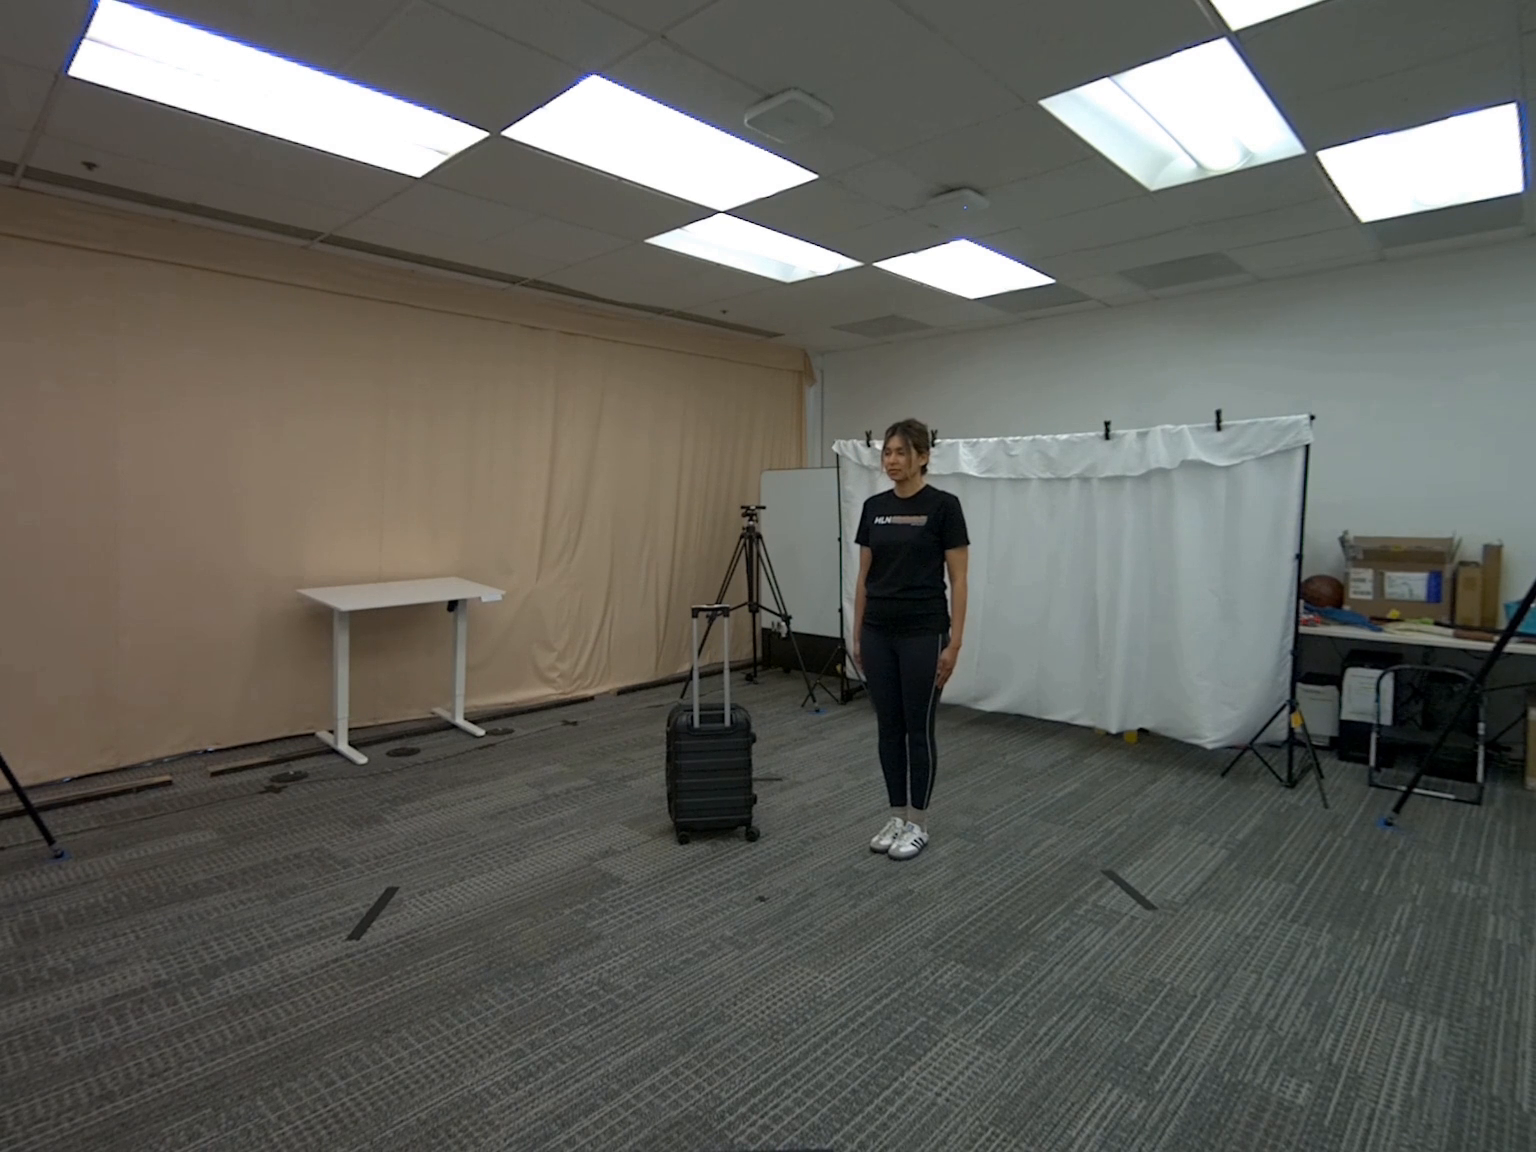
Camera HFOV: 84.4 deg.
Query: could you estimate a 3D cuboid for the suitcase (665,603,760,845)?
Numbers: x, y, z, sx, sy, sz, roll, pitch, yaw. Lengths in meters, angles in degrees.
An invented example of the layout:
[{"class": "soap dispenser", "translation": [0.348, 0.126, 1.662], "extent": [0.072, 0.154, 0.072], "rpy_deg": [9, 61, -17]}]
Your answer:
[{"class": "suitcase", "translation": [-0.250, 0.623, 3.583], "extent": [0.381, 0.978, 0.259], "rpy_deg": [-1, 1, -7]}]
